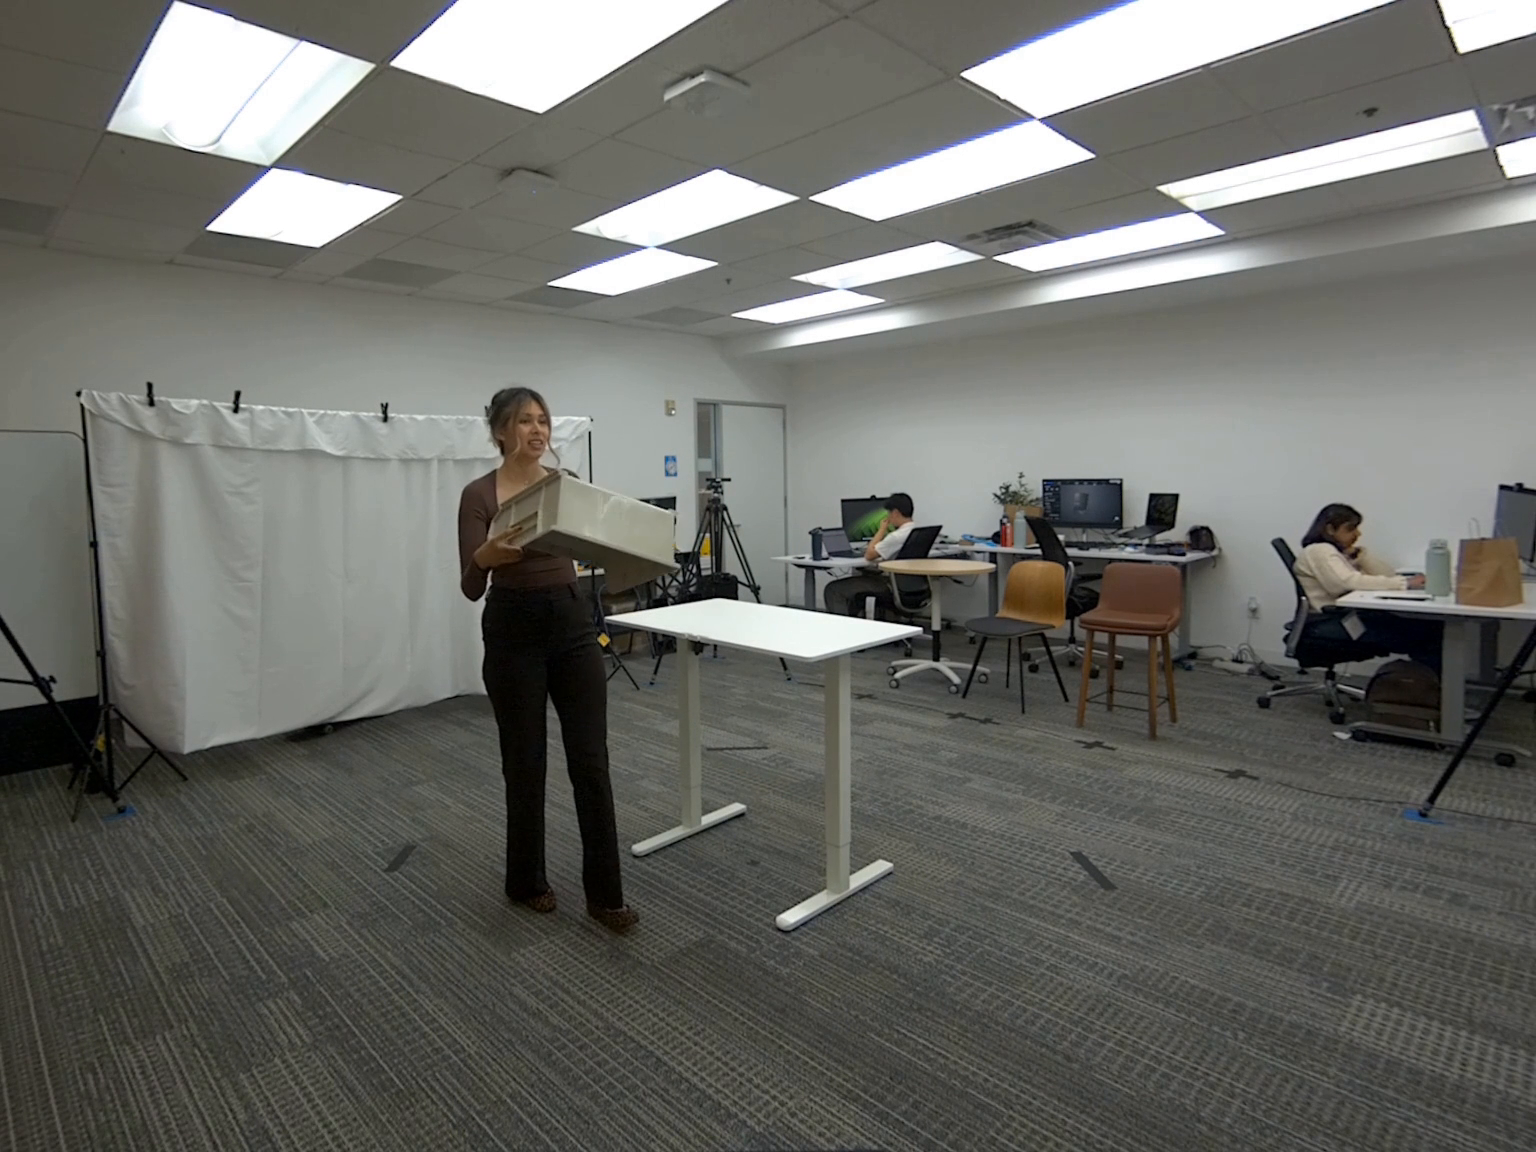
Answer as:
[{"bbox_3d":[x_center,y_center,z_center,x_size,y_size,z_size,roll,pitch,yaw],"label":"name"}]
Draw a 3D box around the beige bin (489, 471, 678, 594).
[{"bbox_3d":[-0.527,-0.102,2.450,0.407,0.192,0.384,20,-29,-41],"label":"beige bin"}]
